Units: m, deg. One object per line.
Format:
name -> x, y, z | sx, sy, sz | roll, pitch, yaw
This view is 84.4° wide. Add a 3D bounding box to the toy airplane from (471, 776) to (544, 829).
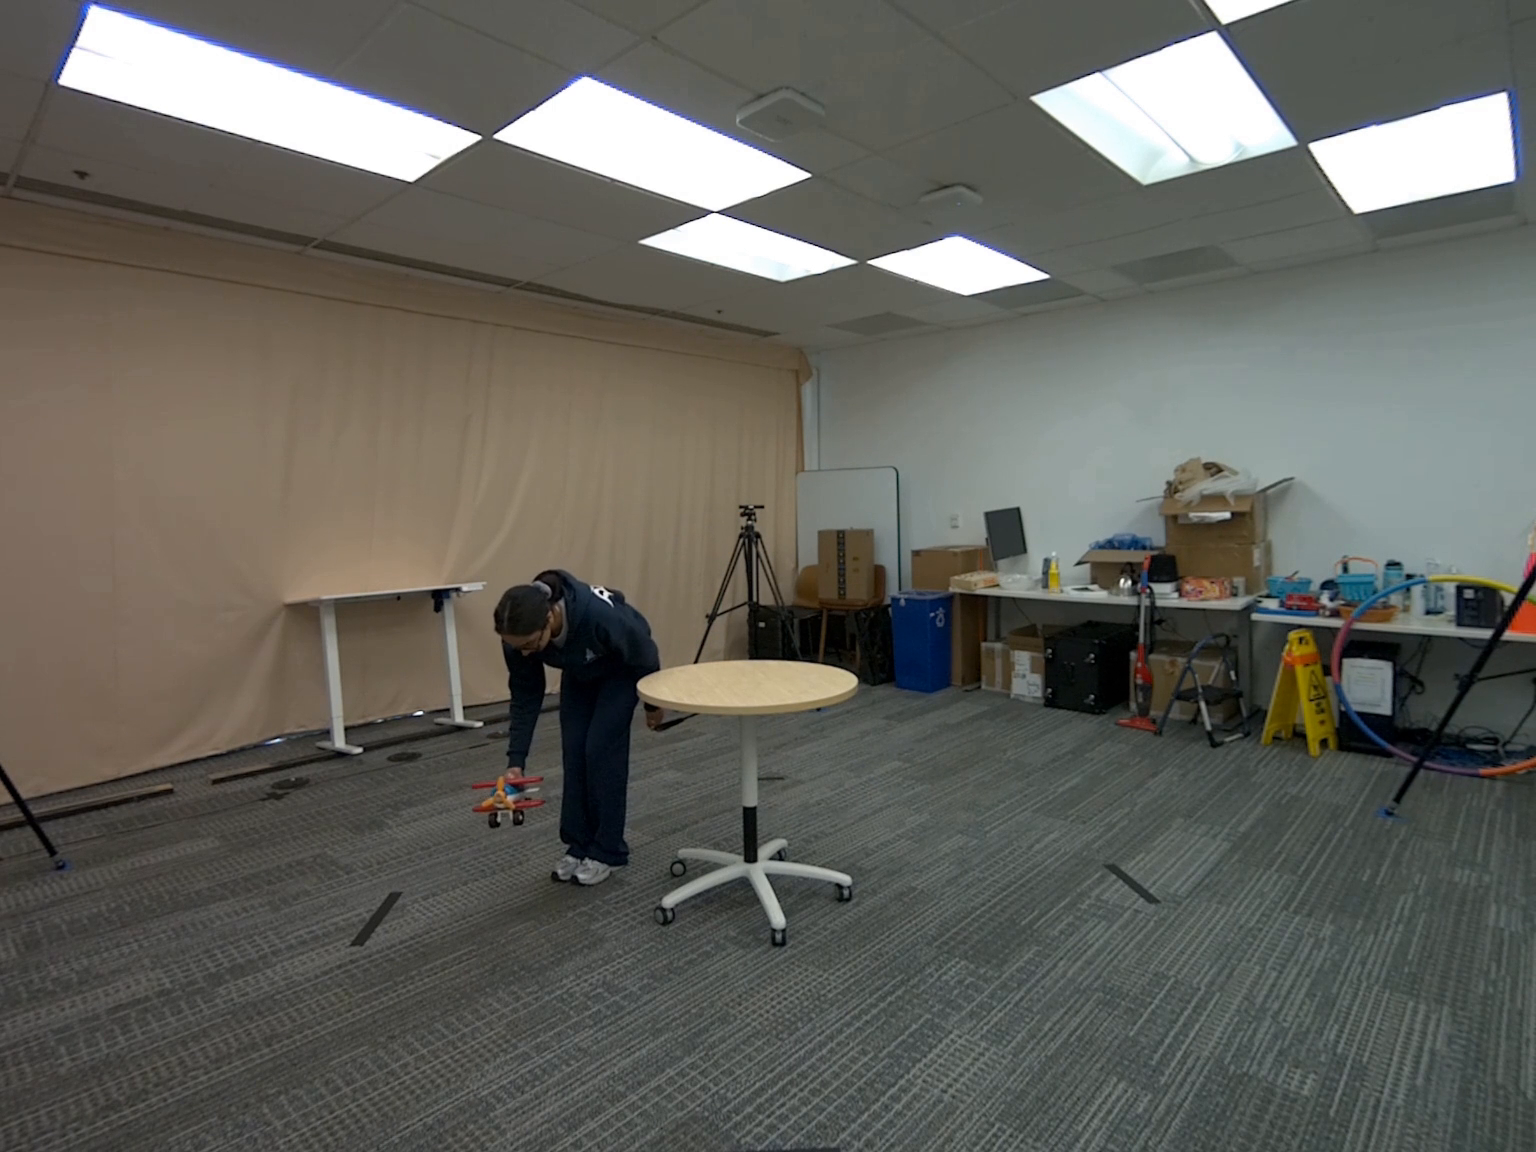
toy airplane -> -0.923, 0.777, 2.972 | 0.246, 0.156, 0.265 | -10, 7, -23
